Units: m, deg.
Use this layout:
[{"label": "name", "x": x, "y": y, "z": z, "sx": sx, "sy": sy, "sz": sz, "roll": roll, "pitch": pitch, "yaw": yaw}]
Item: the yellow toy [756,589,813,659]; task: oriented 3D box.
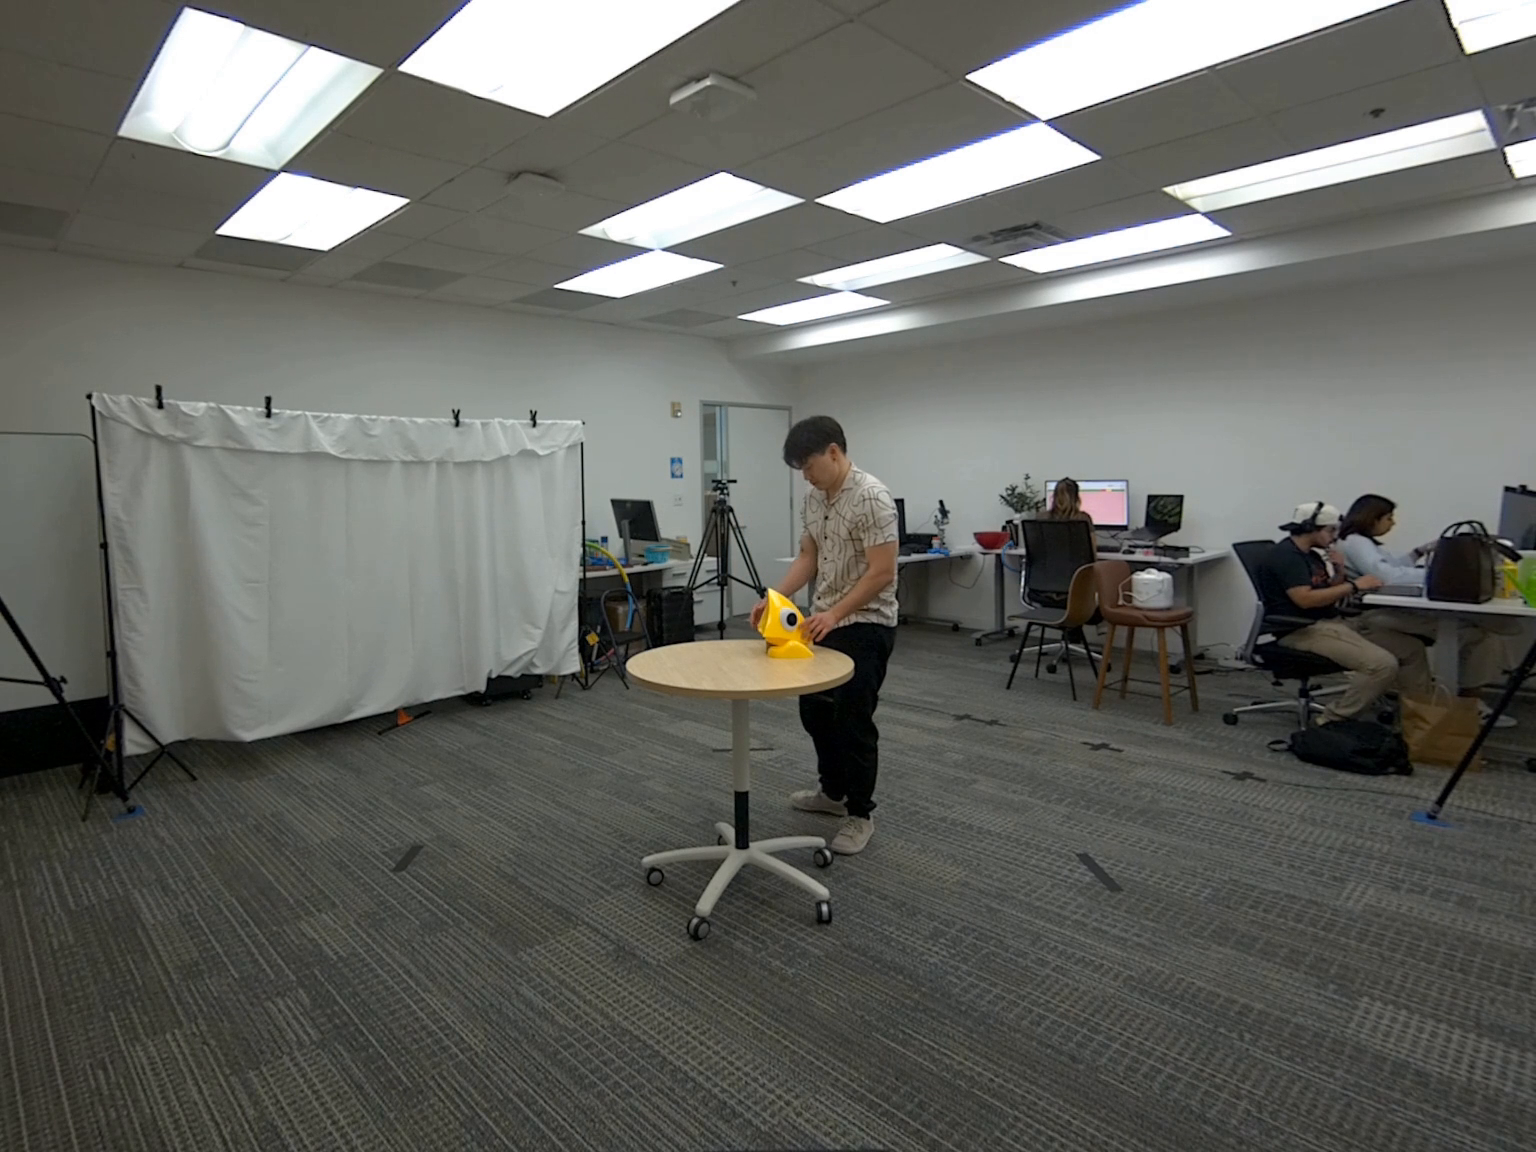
[{"label": "yellow toy", "x": 0.059, "y": 0.159, "z": 3.021, "sx": 0.192, "sy": 0.230, "sz": 0.206, "roll": -1, "pitch": 3, "yaw": -3}]
